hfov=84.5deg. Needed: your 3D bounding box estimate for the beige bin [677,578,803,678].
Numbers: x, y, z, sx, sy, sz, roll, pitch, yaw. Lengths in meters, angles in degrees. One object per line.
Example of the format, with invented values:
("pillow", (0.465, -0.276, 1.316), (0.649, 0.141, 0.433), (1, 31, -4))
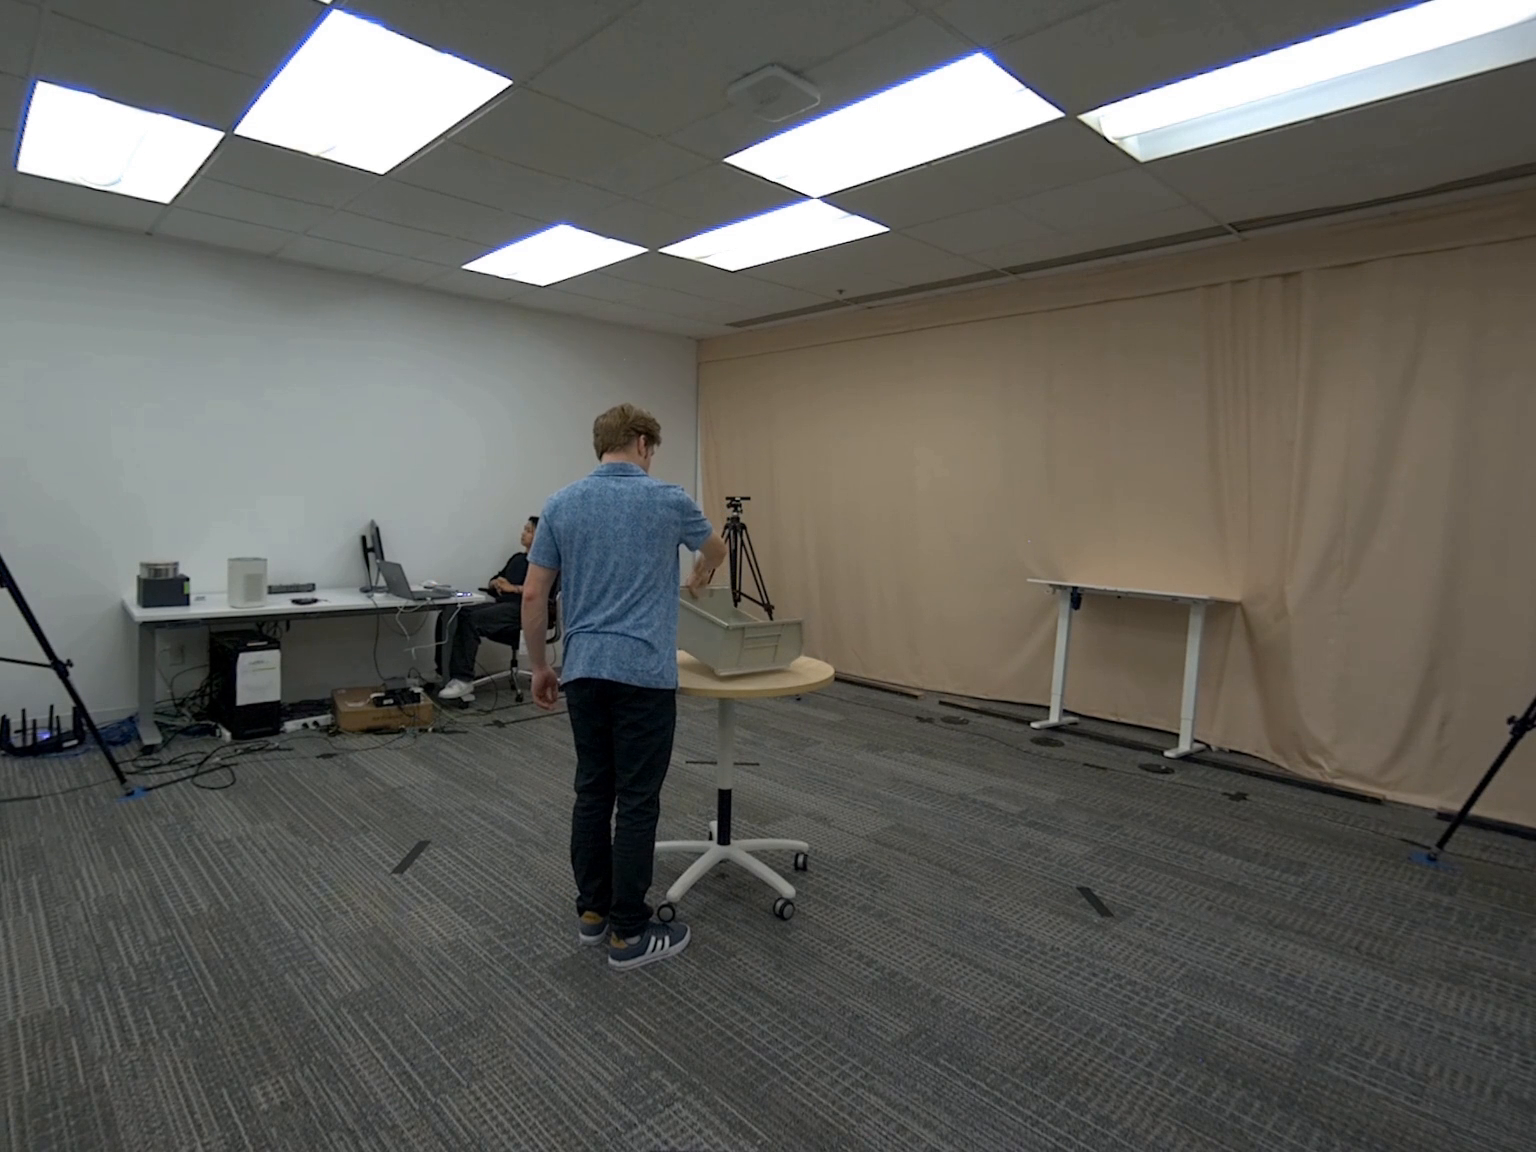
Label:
("beige bin", (-0.151, 0.179, 2.981), (0.369, 0.187, 0.435), (-3, 18, -39))
